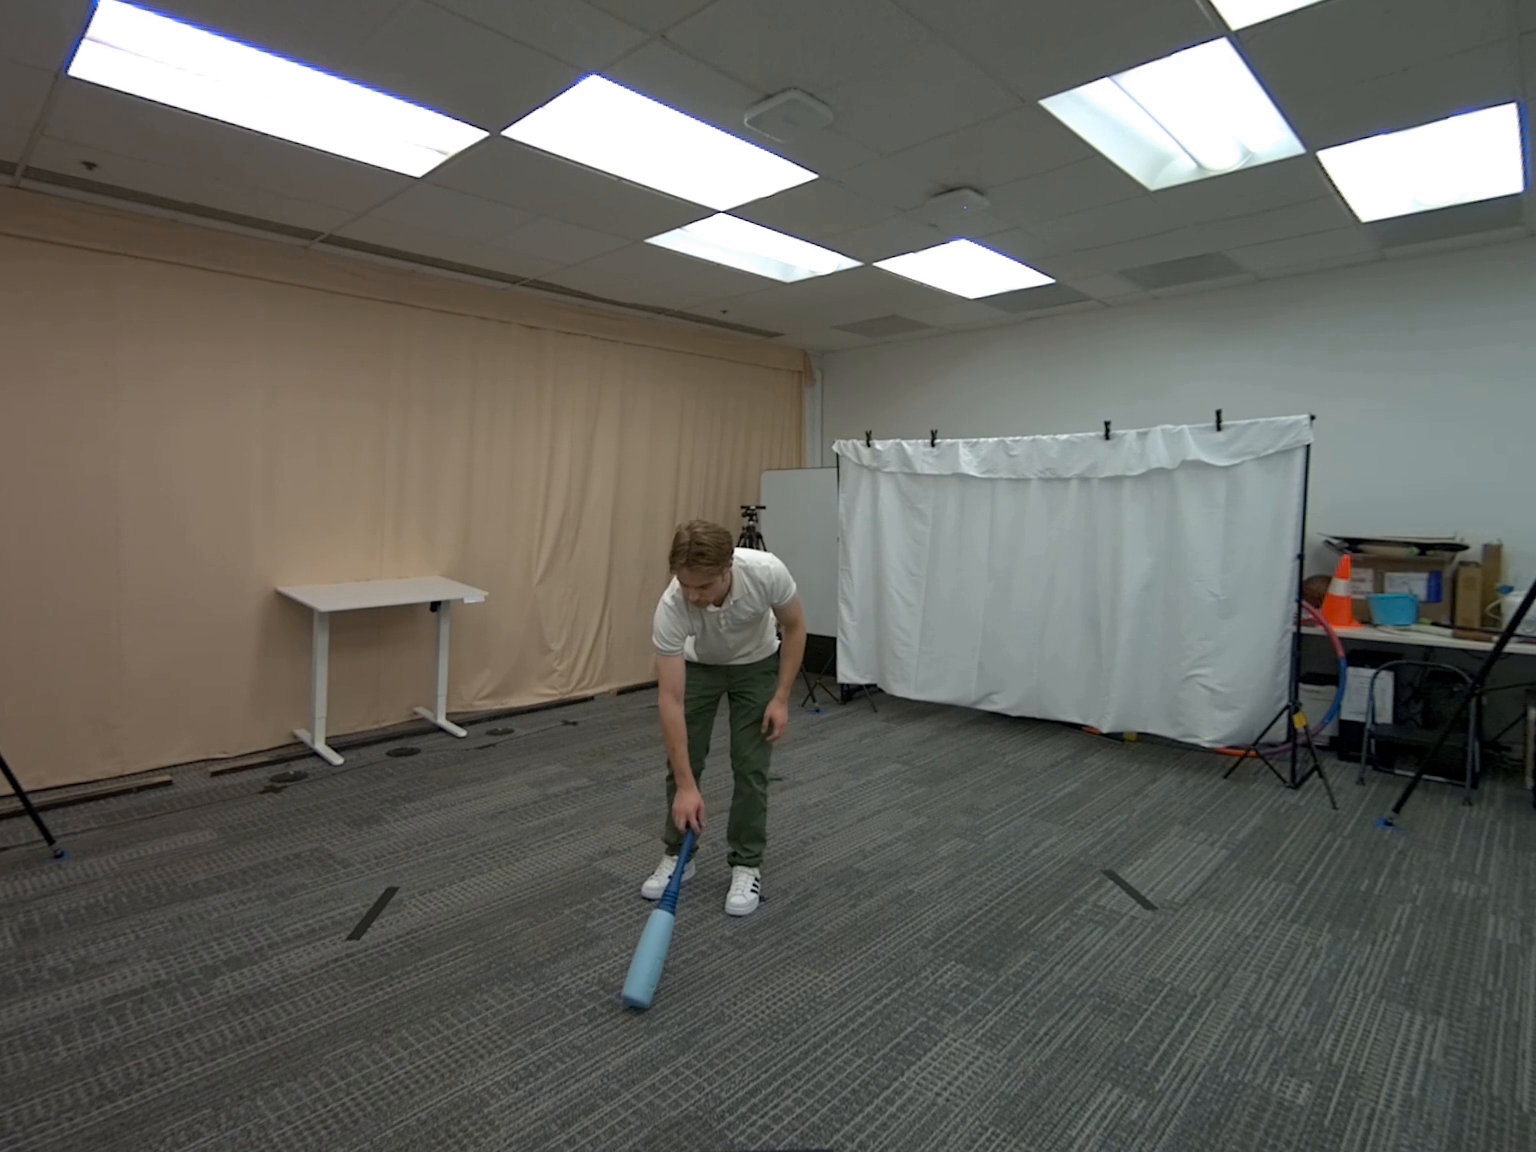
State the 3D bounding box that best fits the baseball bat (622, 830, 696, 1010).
[{"bbox_3d":[-0.301,0.980,2.487,0.091,0.086,0.545,1,47,23],"label":"baseball bat"}]
